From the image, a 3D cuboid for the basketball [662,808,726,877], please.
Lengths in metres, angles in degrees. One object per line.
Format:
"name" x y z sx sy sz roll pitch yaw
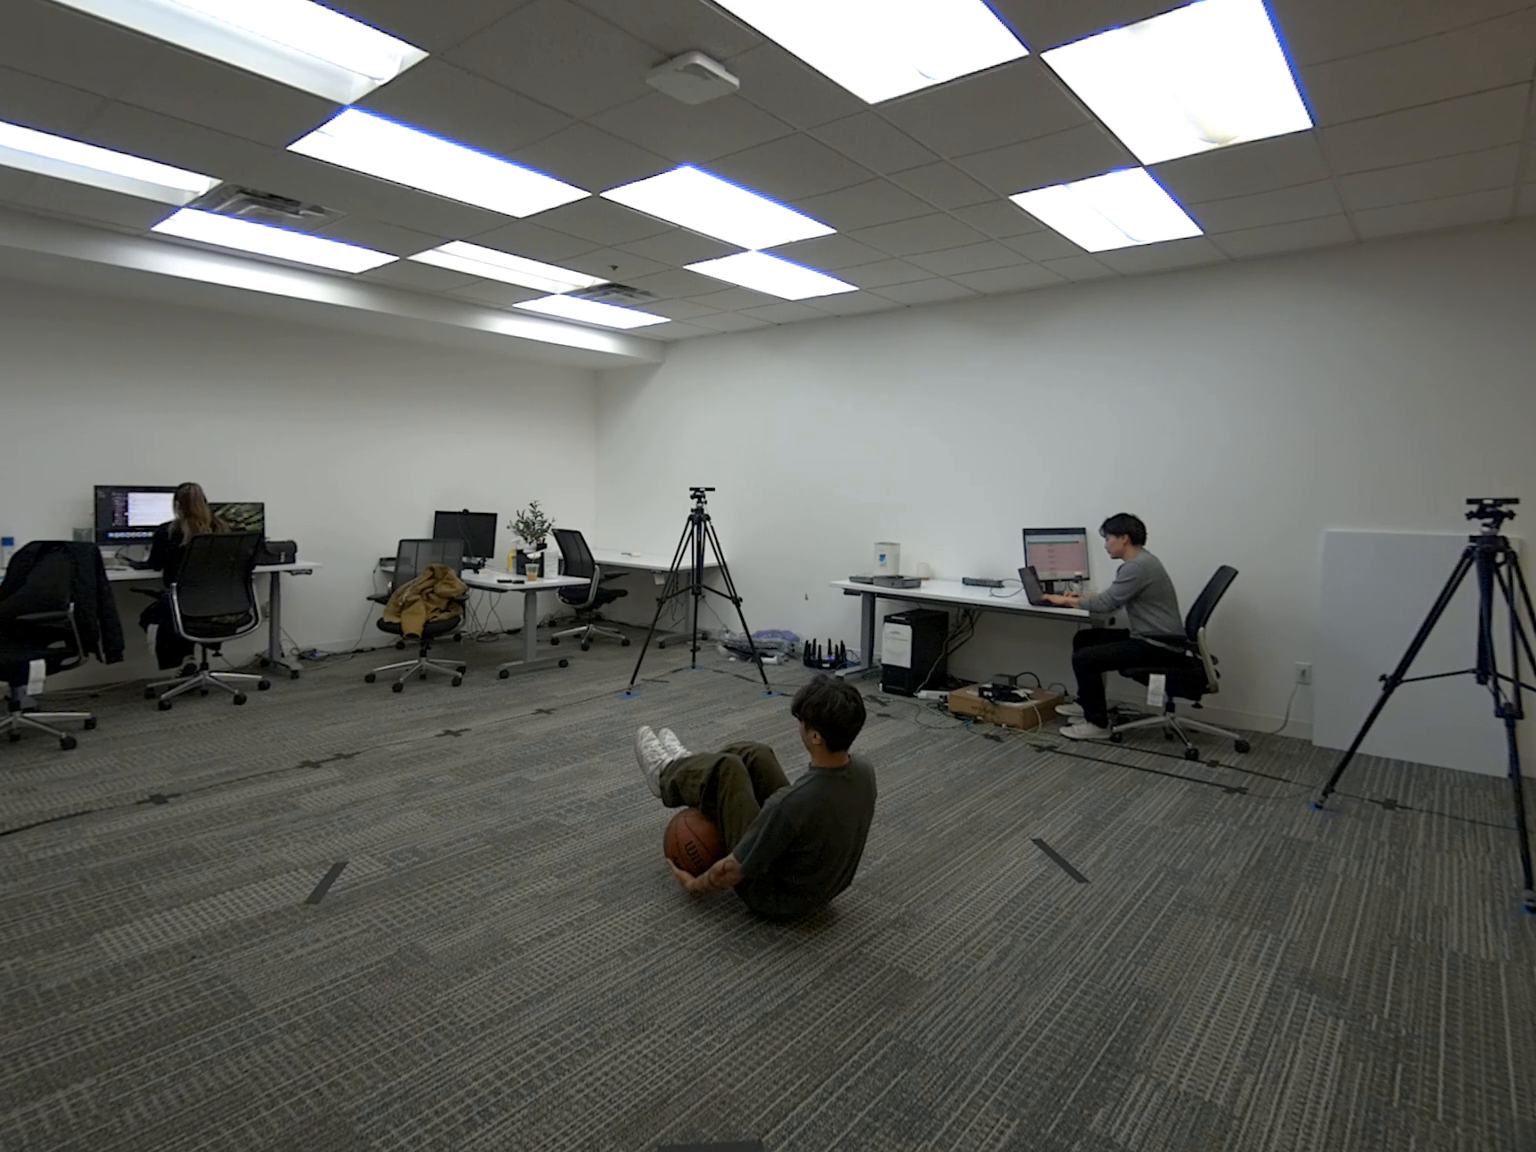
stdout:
"basketball" -0.253 0.912 2.952 0.235 0.235 0.237 1 4 -2
